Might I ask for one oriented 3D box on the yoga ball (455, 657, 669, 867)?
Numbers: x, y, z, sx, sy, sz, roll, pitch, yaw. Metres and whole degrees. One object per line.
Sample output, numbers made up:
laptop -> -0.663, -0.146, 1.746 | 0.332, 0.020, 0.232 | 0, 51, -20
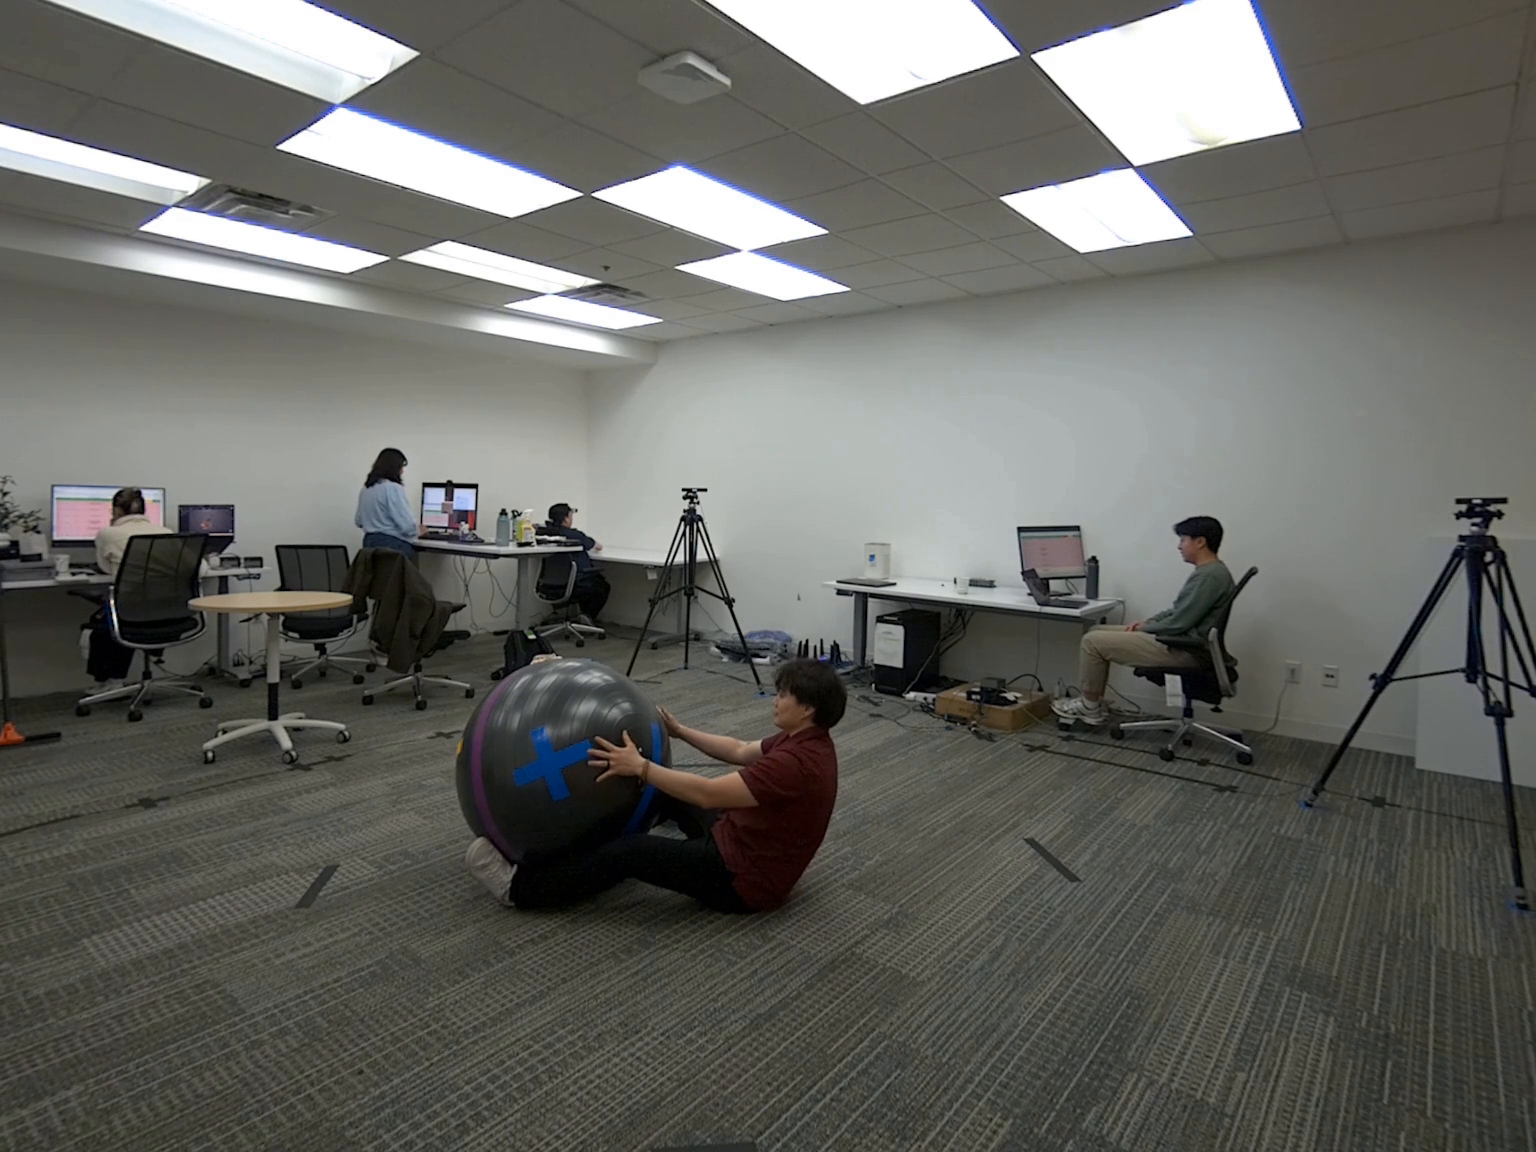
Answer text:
yoga ball -> -0.733, 0.677, 3.044 | 0.757, 0.755, 0.762 | 1, 4, -2
